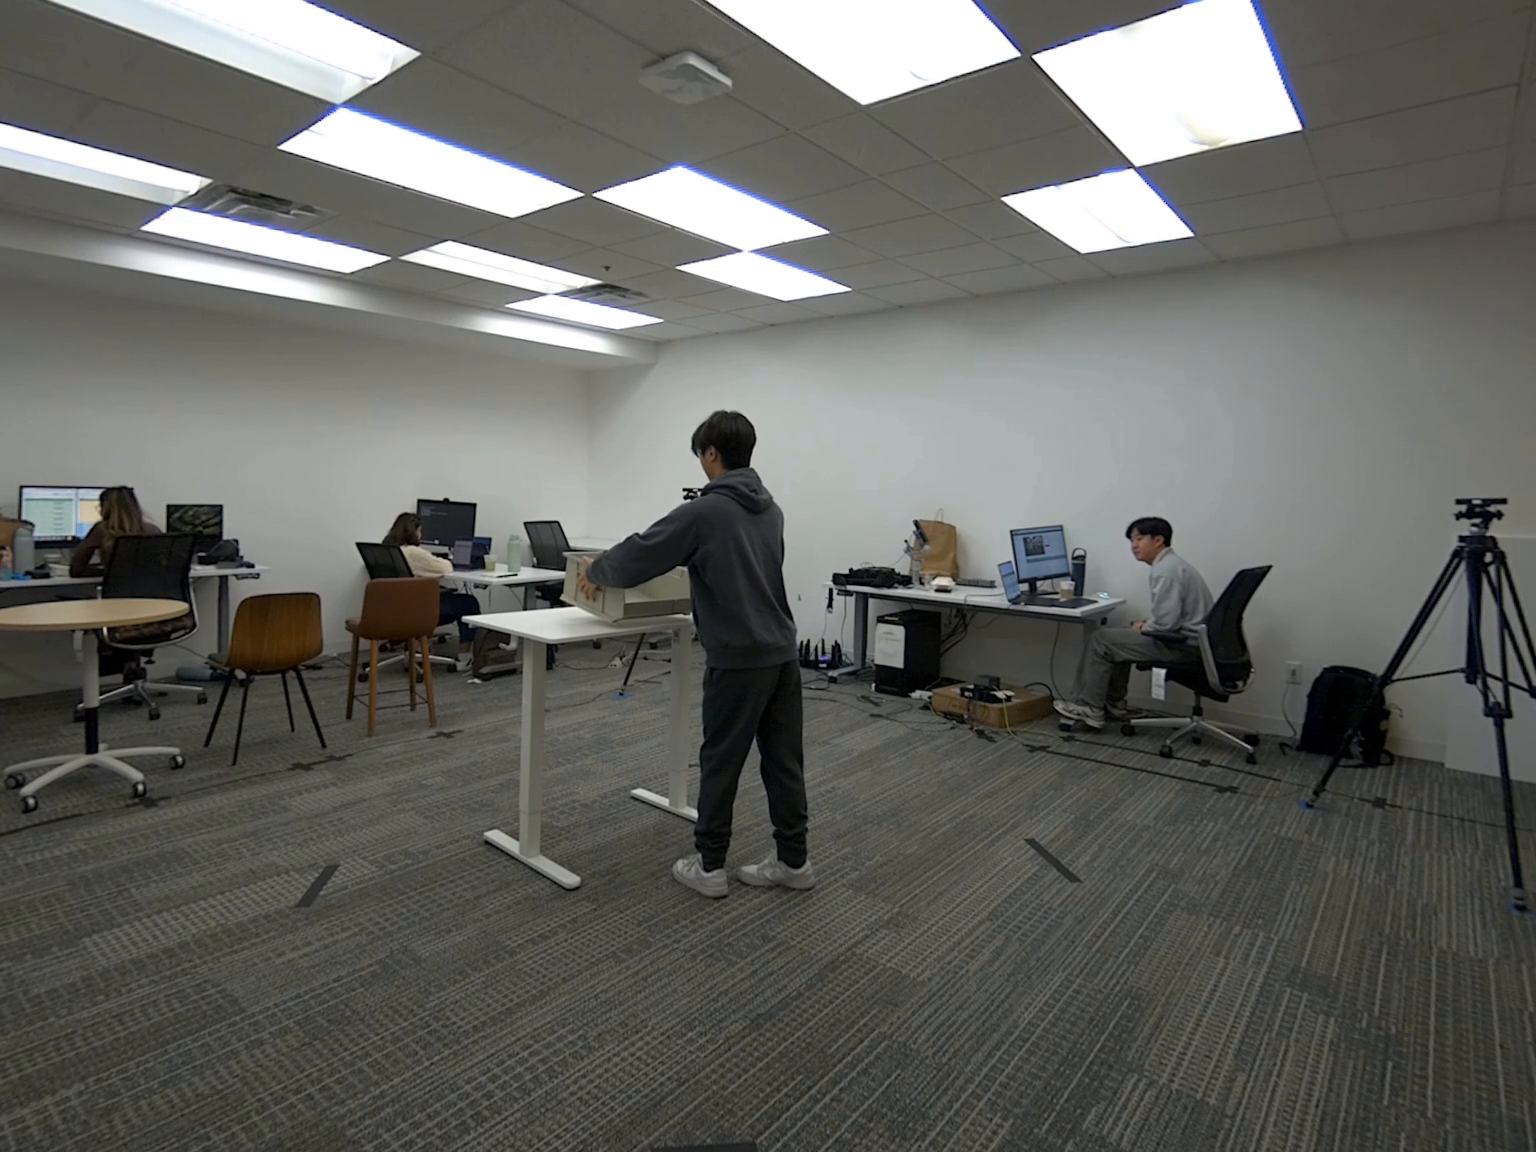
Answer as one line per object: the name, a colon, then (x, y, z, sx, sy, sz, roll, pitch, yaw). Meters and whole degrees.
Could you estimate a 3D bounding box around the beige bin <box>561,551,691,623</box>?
beige bin: (-0.530, 0.040, 3.275, 0.392, 0.187, 0.409, 17, 14, 40)
